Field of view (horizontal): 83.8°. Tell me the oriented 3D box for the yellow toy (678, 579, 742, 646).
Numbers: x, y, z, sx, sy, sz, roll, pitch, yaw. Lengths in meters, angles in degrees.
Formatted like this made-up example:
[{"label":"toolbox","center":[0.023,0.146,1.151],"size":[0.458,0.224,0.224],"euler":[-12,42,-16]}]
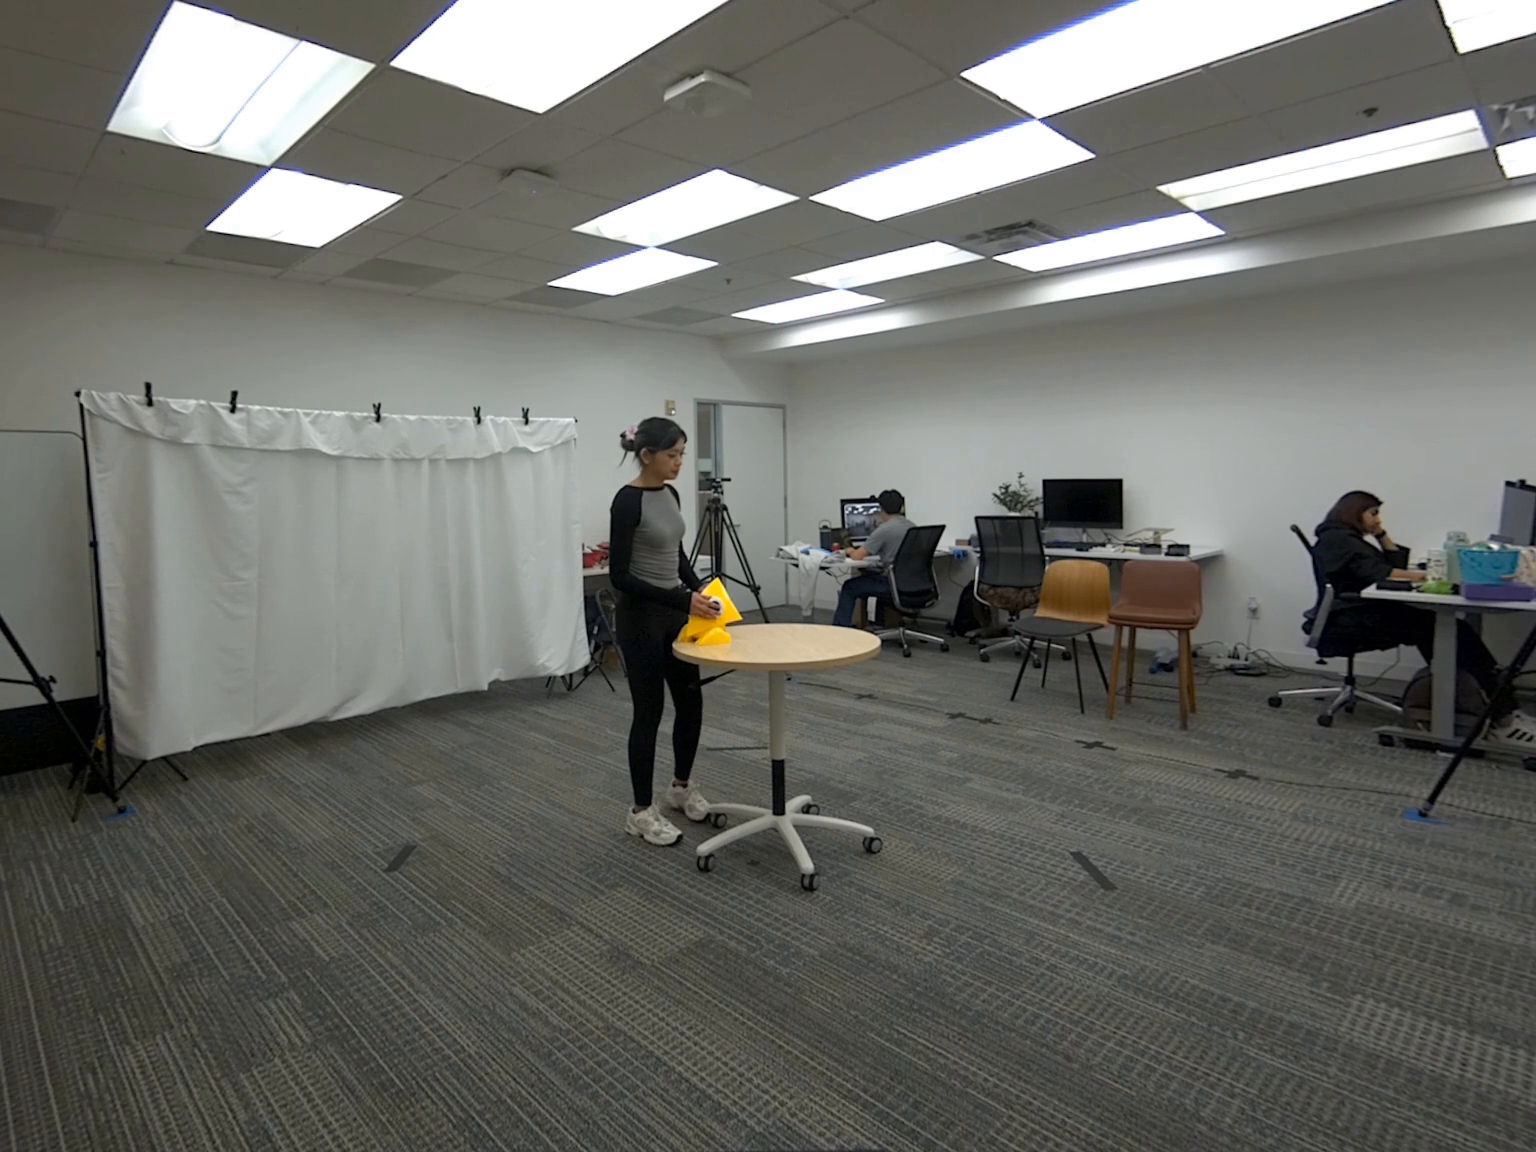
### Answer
[{"label":"yellow toy","center":[-0.232,0.130,3.212],"size":[0.188,0.230,0.211],"euler":[-5,7,-40]}]
